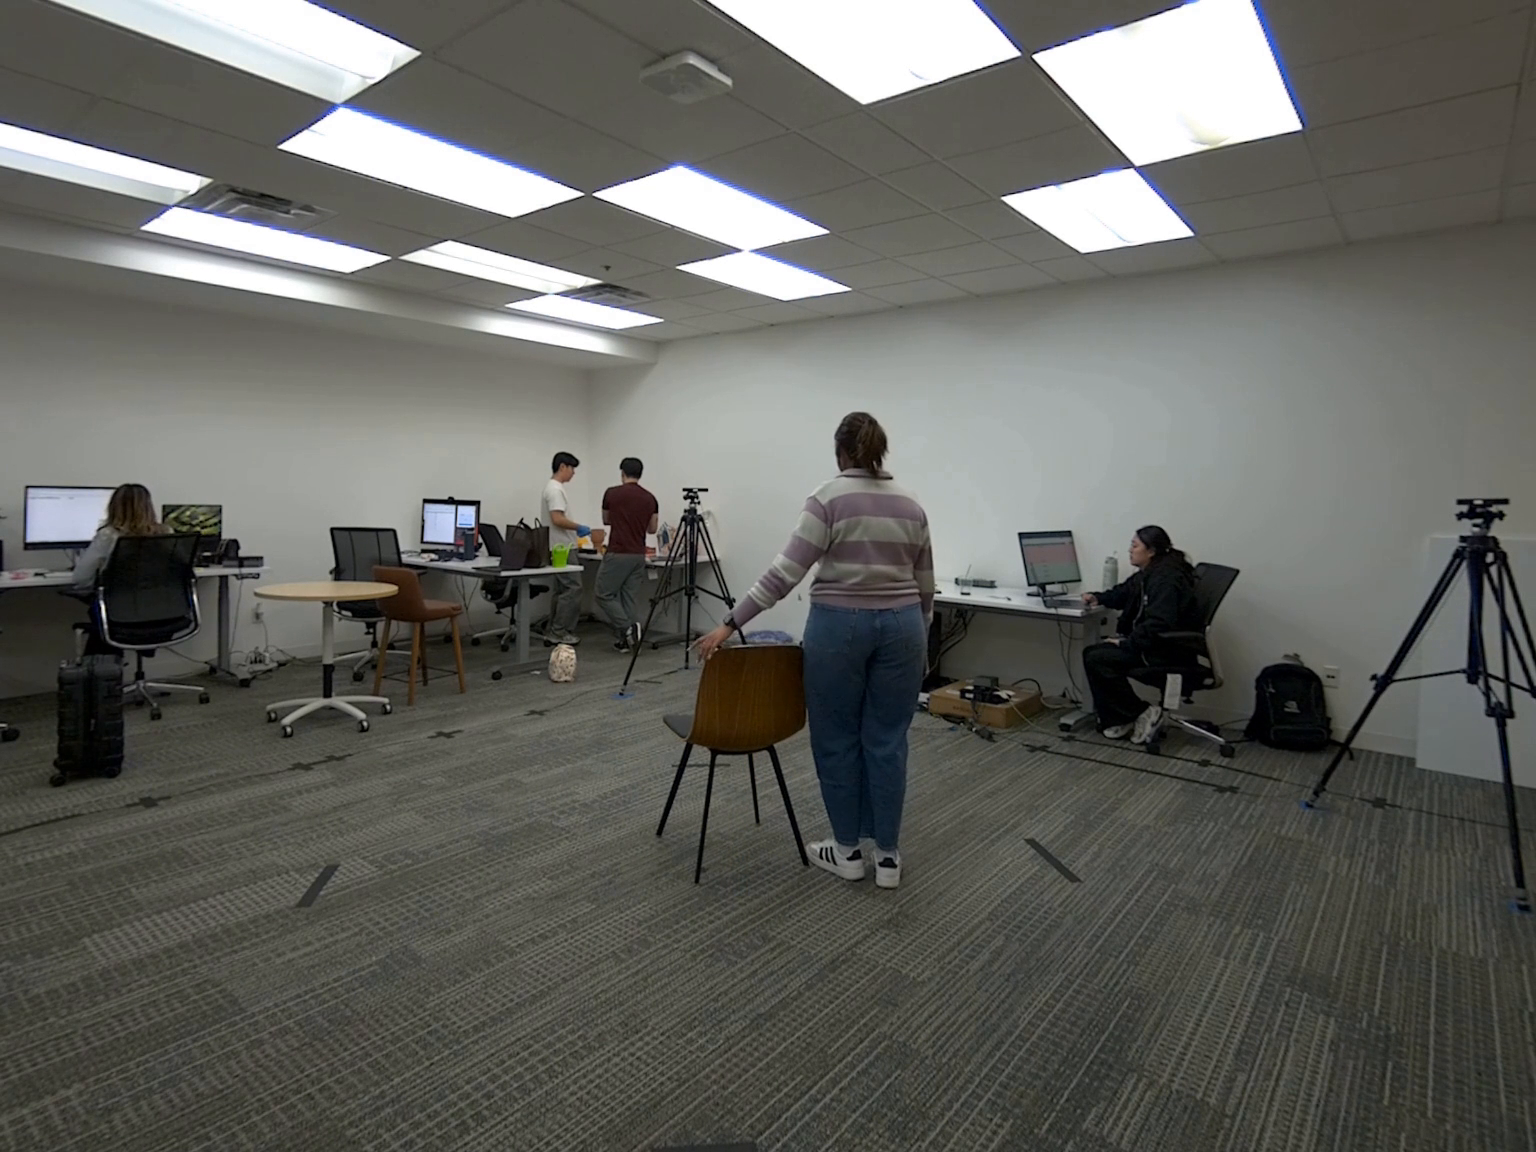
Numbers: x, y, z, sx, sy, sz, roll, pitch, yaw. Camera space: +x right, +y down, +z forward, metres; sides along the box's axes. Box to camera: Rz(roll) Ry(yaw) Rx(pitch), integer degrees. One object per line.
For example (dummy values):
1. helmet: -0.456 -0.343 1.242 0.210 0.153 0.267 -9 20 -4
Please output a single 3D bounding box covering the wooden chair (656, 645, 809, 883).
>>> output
1. wooden chair: -0.155 0.630 3.262 0.467 0.872 0.539 0 8 -24
